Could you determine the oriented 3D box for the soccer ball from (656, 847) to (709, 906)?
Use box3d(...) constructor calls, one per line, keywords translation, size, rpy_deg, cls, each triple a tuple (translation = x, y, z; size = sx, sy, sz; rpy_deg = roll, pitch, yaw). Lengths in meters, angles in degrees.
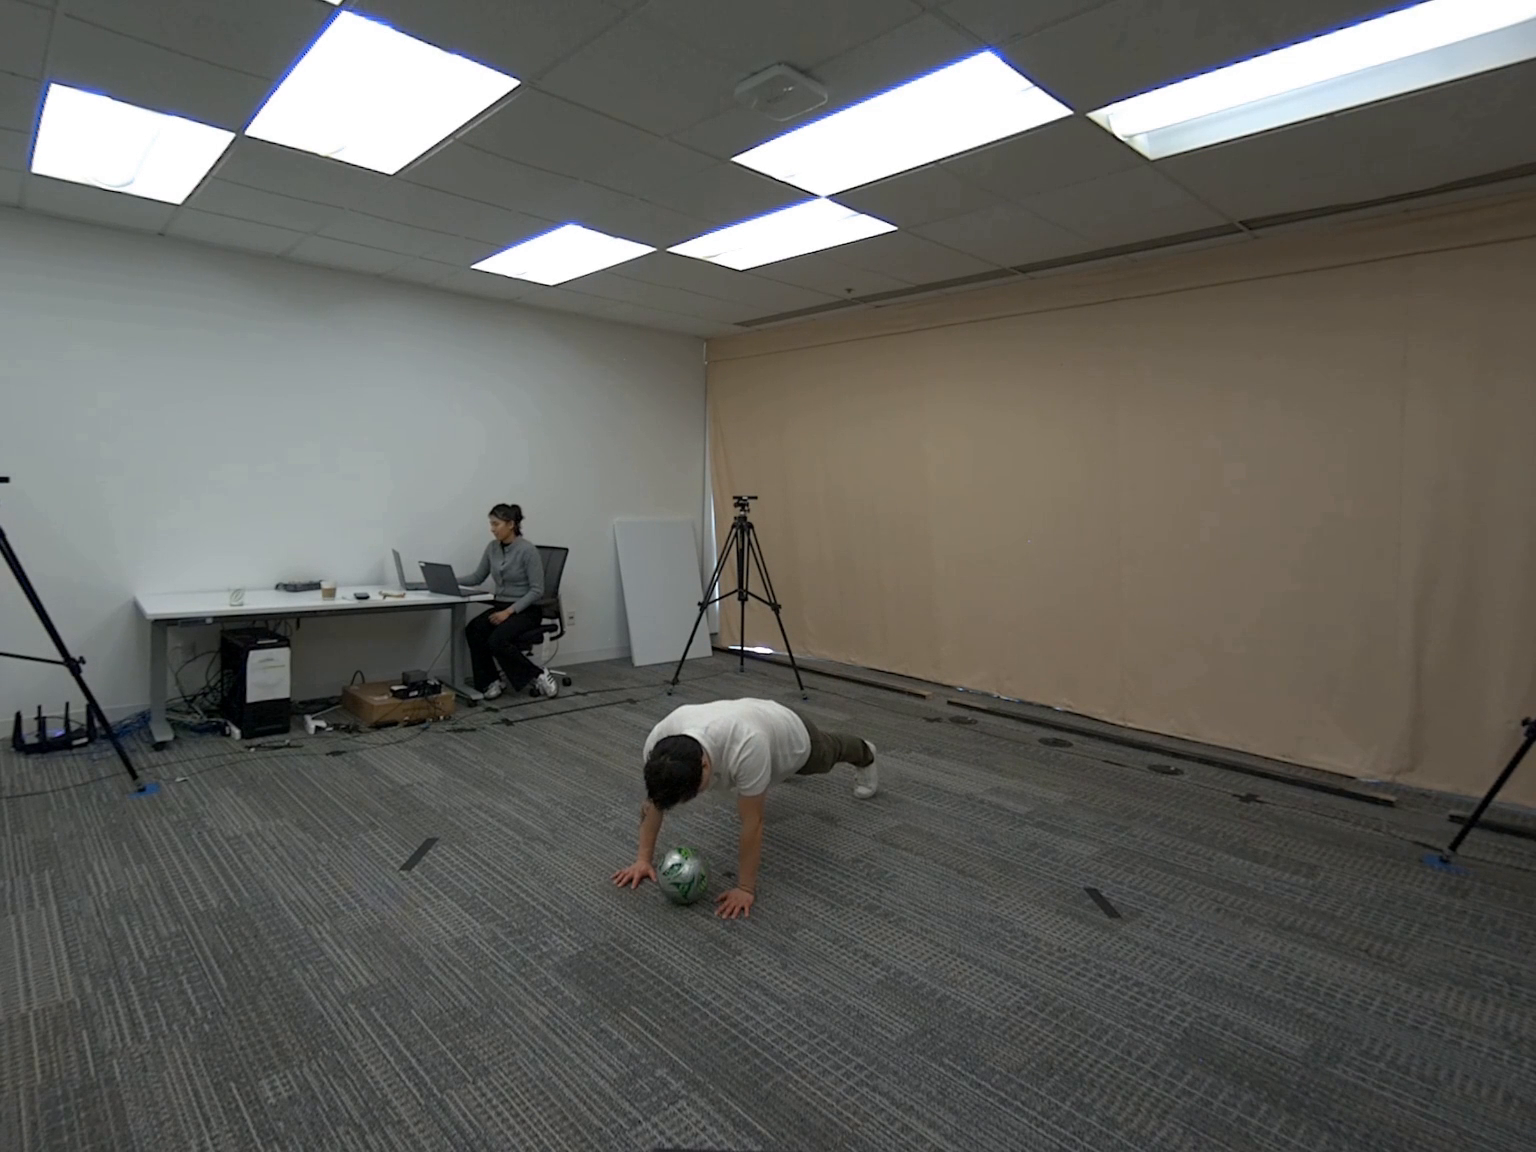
box3d(translation=(-0.300, 1.025, 2.882), size=(0.187, 0.187, 0.188), rpy_deg=(1, 4, -1), cls="soccer ball")
